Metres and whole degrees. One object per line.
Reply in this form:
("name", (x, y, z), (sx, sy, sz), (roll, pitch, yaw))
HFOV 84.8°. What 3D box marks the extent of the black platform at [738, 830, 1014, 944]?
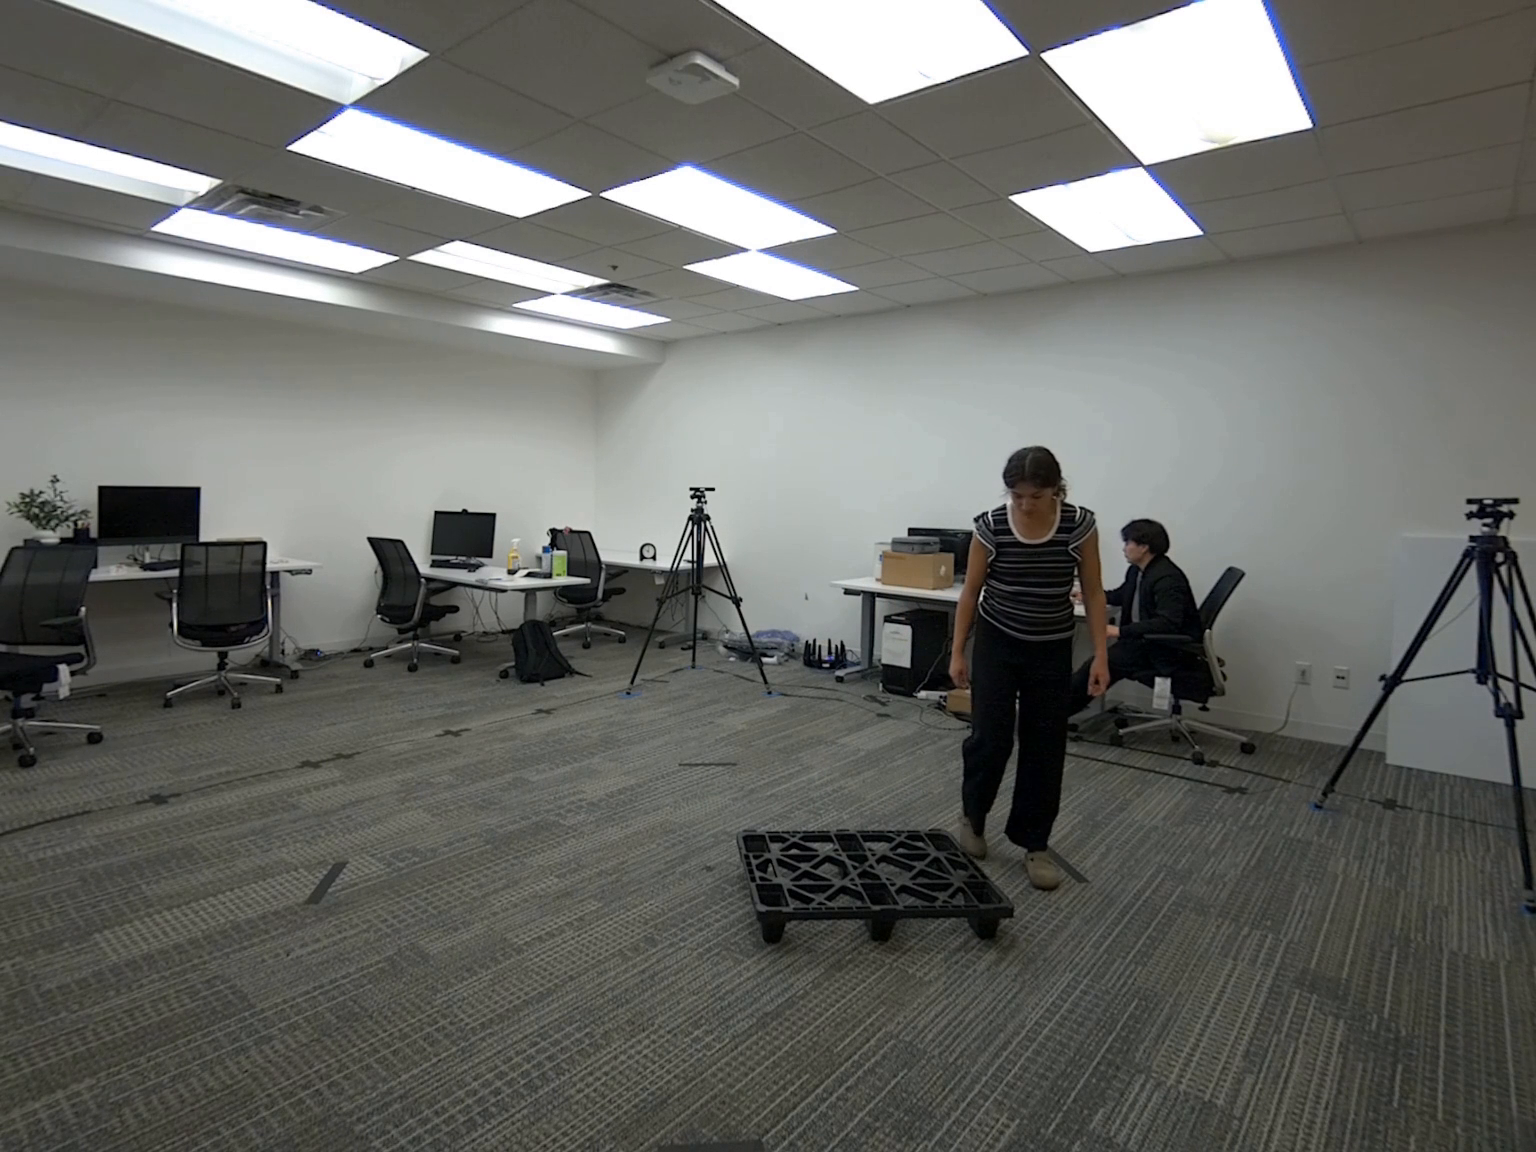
("black platform", (0.313, 1.035, 2.861), (0.801, 0.142, 0.612), (0, 7, -6))
